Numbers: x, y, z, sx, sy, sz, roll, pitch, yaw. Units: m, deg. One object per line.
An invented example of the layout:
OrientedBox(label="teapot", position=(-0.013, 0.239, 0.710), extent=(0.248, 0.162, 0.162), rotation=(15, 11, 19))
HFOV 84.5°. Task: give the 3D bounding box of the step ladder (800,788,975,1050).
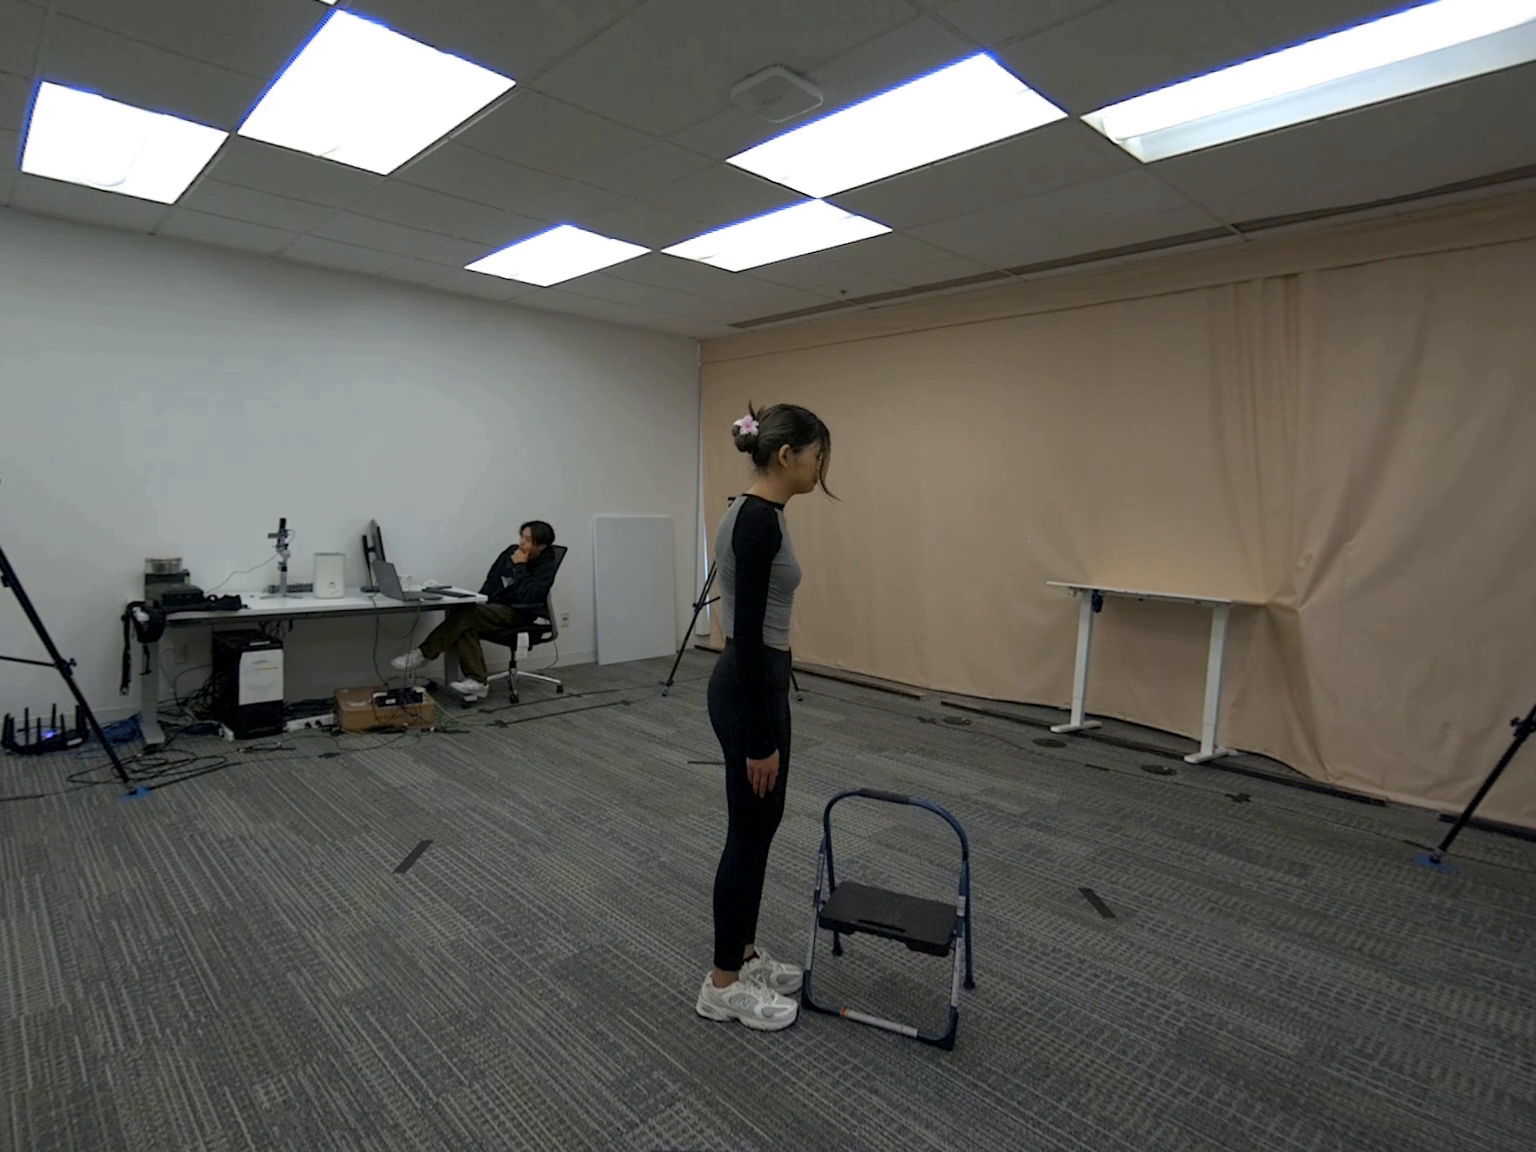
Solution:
OrientedBox(label="step ladder", position=(0.348, 0.892, 2.362), extent=(0.438, 0.604, 0.344), rotation=(3, 4, 23))
